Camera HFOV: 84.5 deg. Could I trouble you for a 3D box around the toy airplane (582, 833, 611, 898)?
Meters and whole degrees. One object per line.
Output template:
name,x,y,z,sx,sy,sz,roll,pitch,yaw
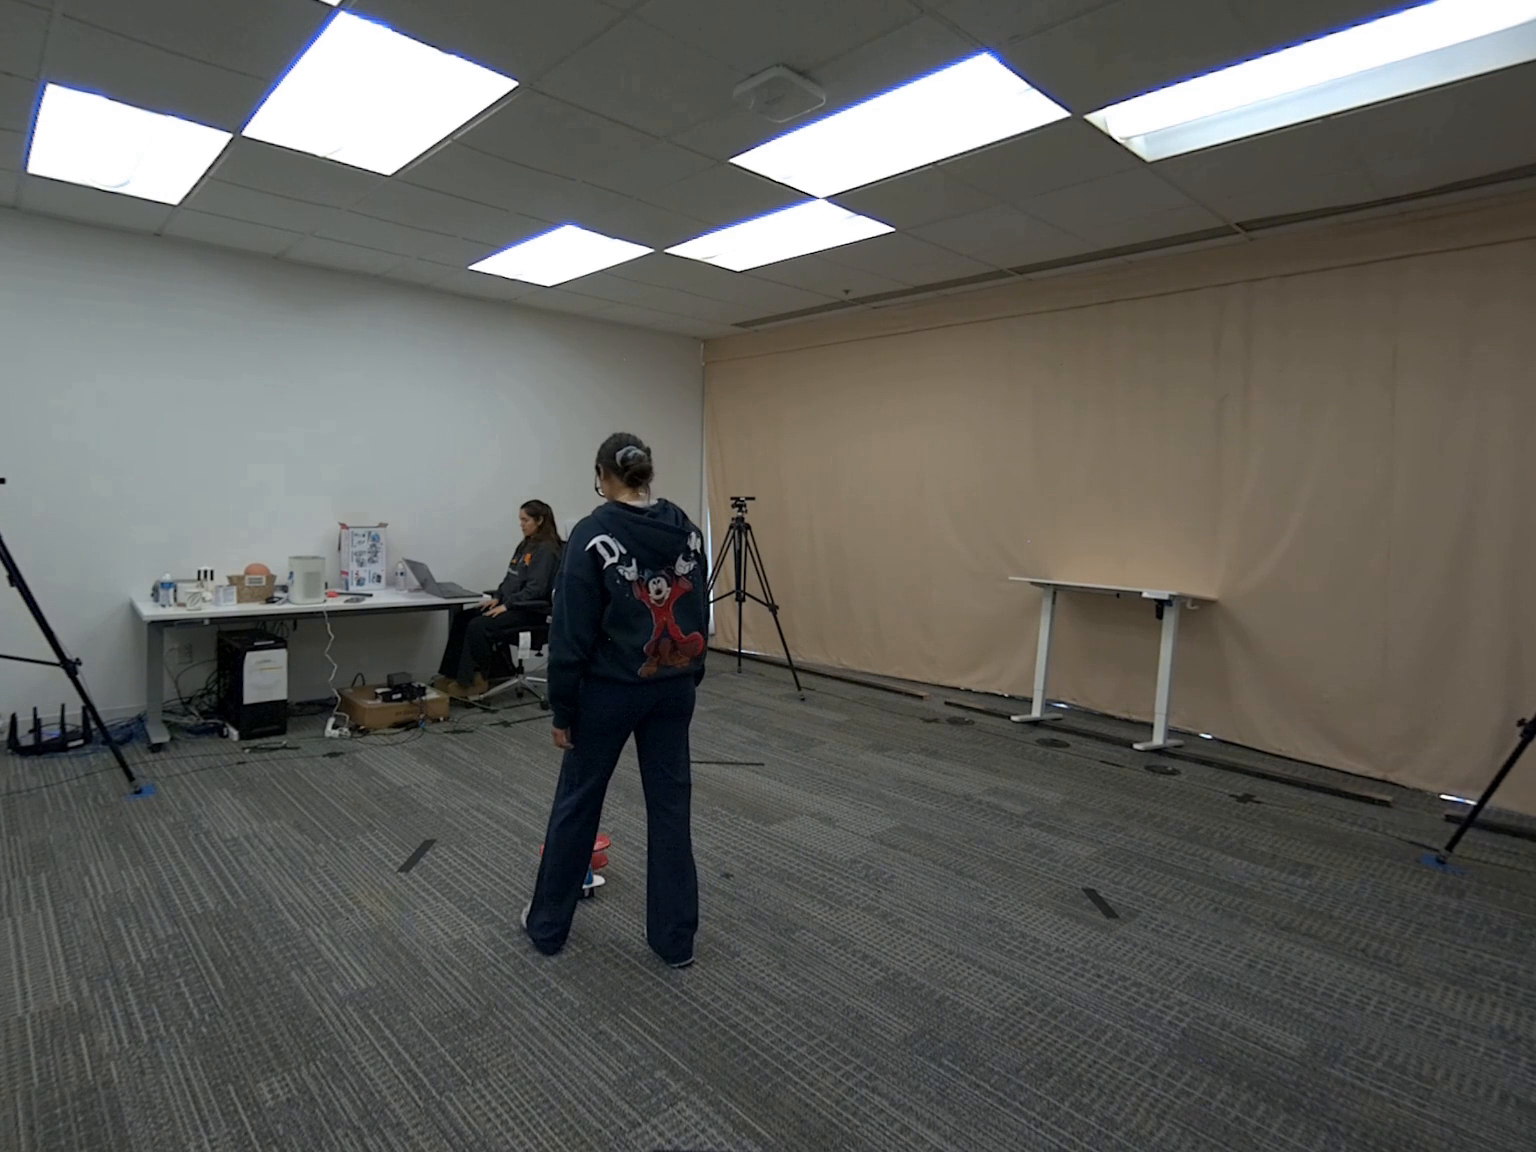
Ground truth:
toy airplane,-0.666,1.032,2.992,0.265,0.156,0.246,3,5,31
